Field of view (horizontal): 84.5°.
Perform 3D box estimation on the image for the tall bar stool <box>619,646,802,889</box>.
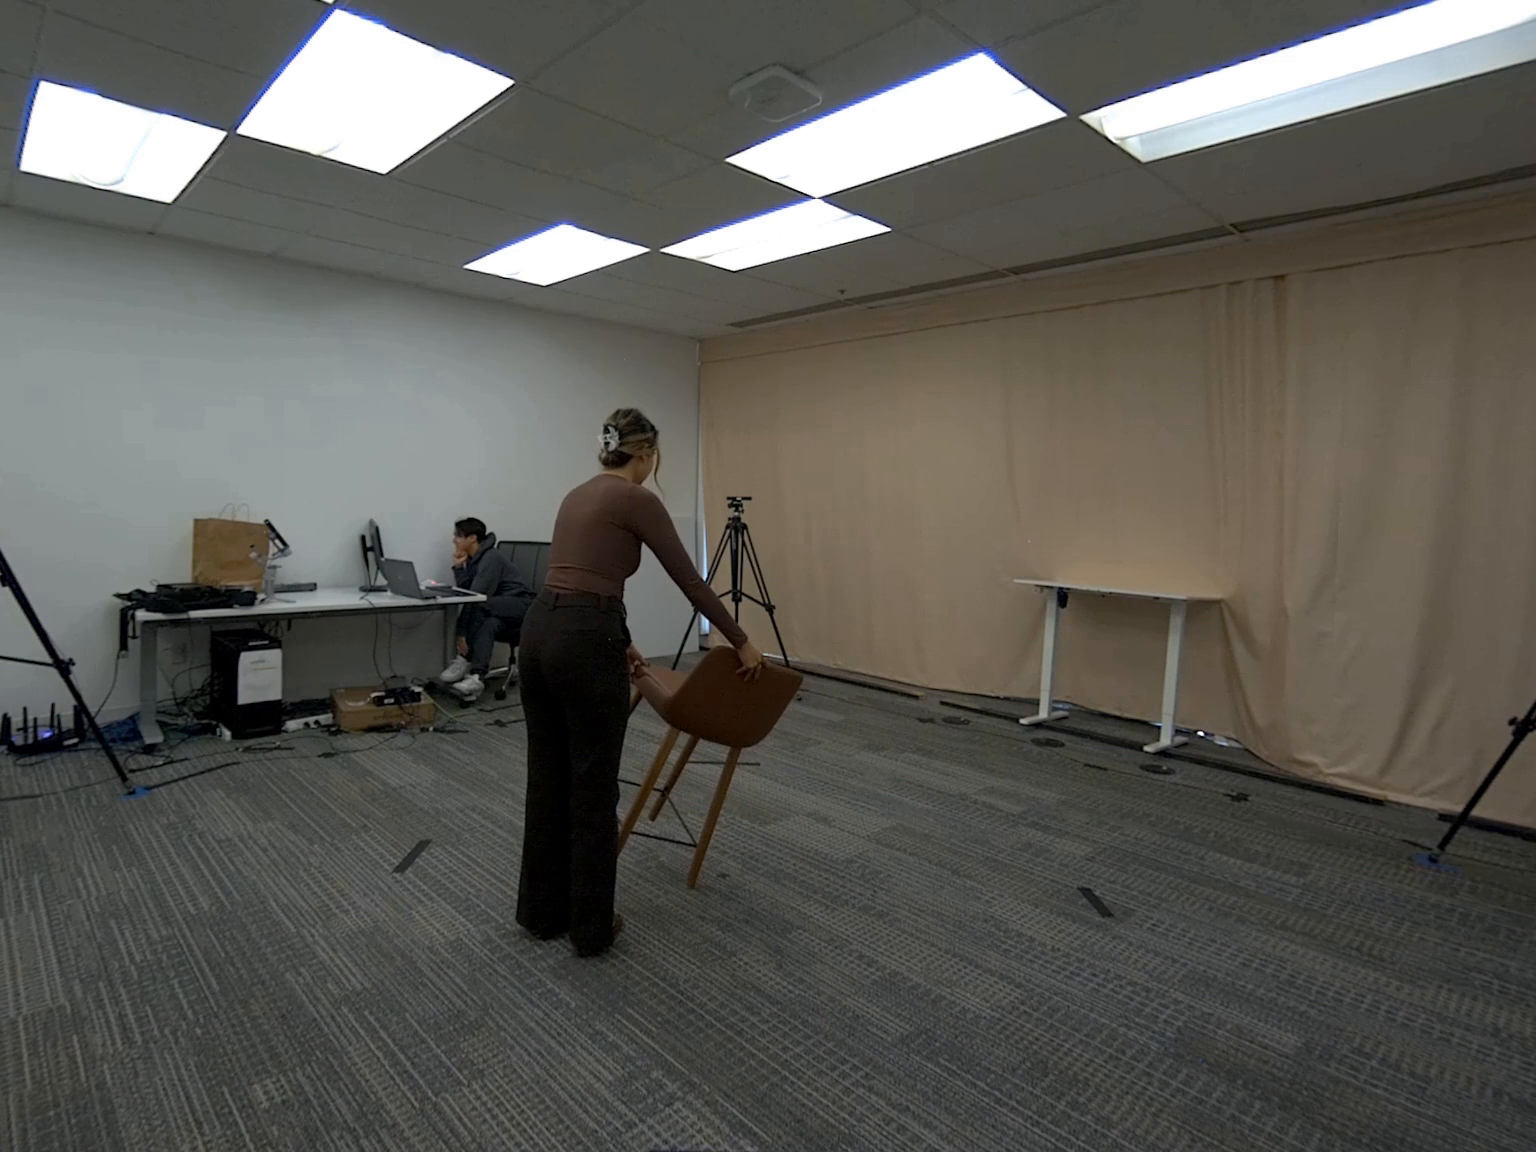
[{"bbox_3d":[-0.310,0.598,3.051,0.444,0.888,0.481,23,8,-32],"label":"tall bar stool"}]
